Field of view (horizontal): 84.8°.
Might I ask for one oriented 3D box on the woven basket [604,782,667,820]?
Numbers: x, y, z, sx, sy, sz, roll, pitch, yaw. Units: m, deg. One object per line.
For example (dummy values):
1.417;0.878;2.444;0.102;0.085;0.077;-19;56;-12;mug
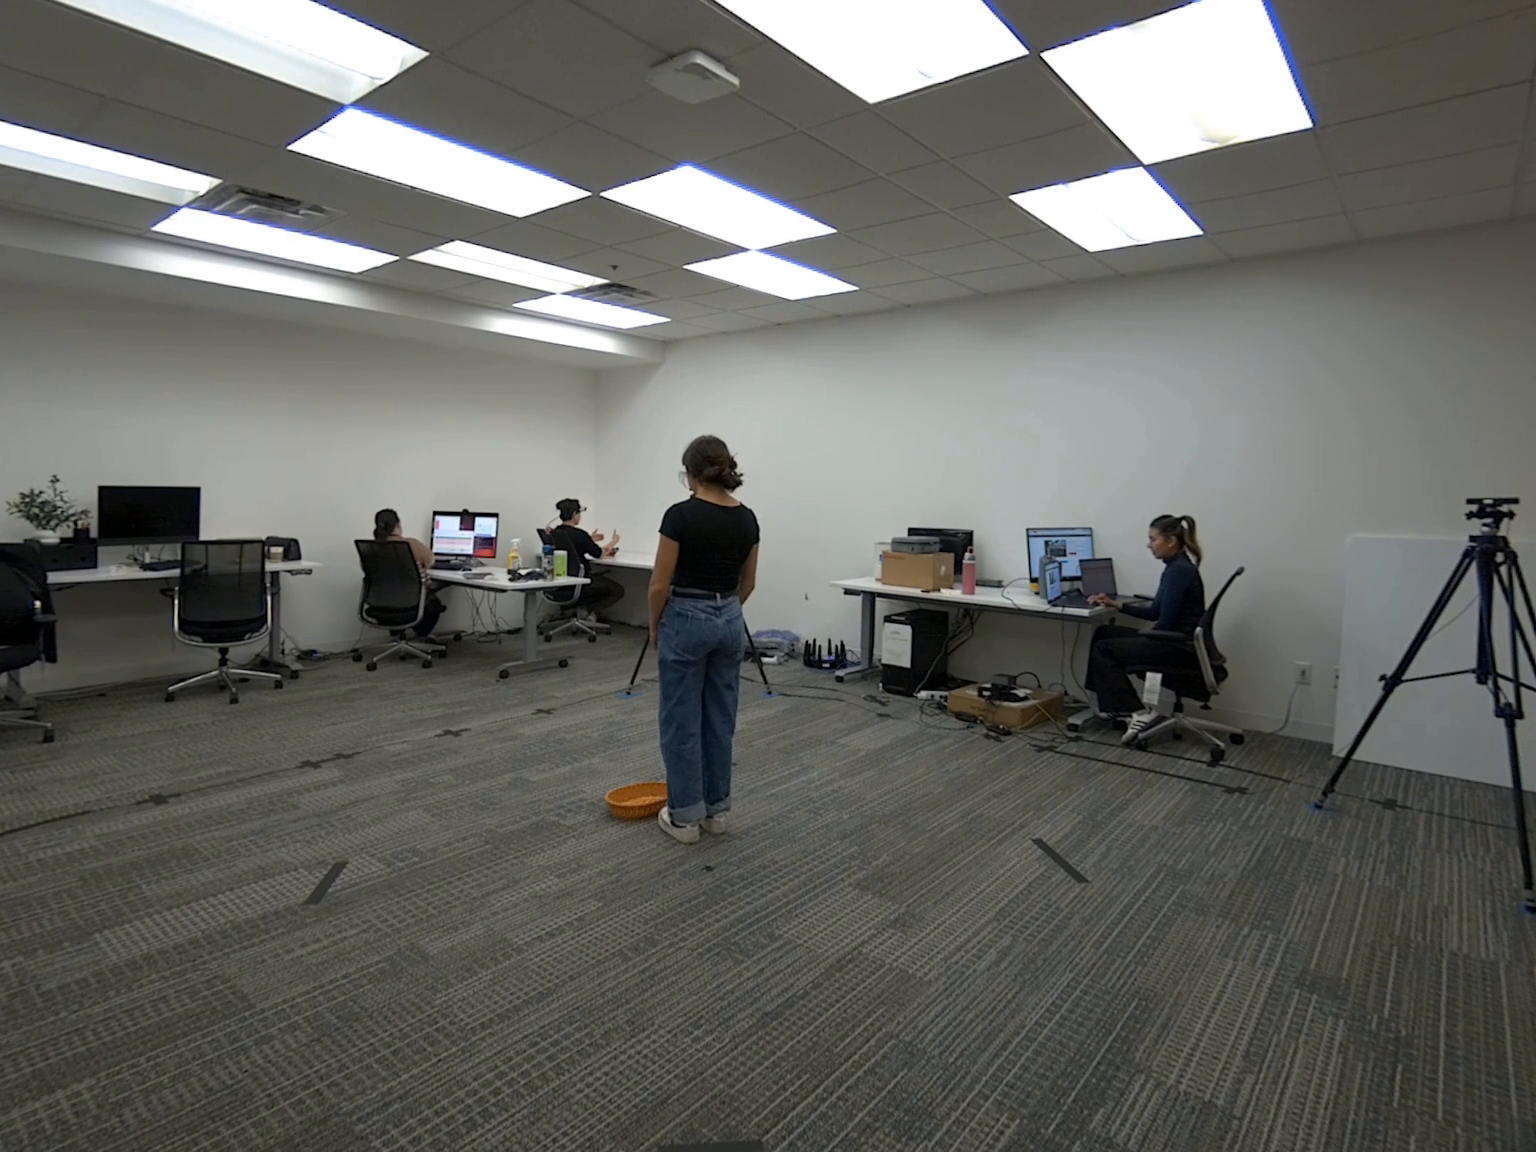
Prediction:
-0.553;0.965;3.677;0.340;0.073;0.261;-5;6;-40;woven basket
